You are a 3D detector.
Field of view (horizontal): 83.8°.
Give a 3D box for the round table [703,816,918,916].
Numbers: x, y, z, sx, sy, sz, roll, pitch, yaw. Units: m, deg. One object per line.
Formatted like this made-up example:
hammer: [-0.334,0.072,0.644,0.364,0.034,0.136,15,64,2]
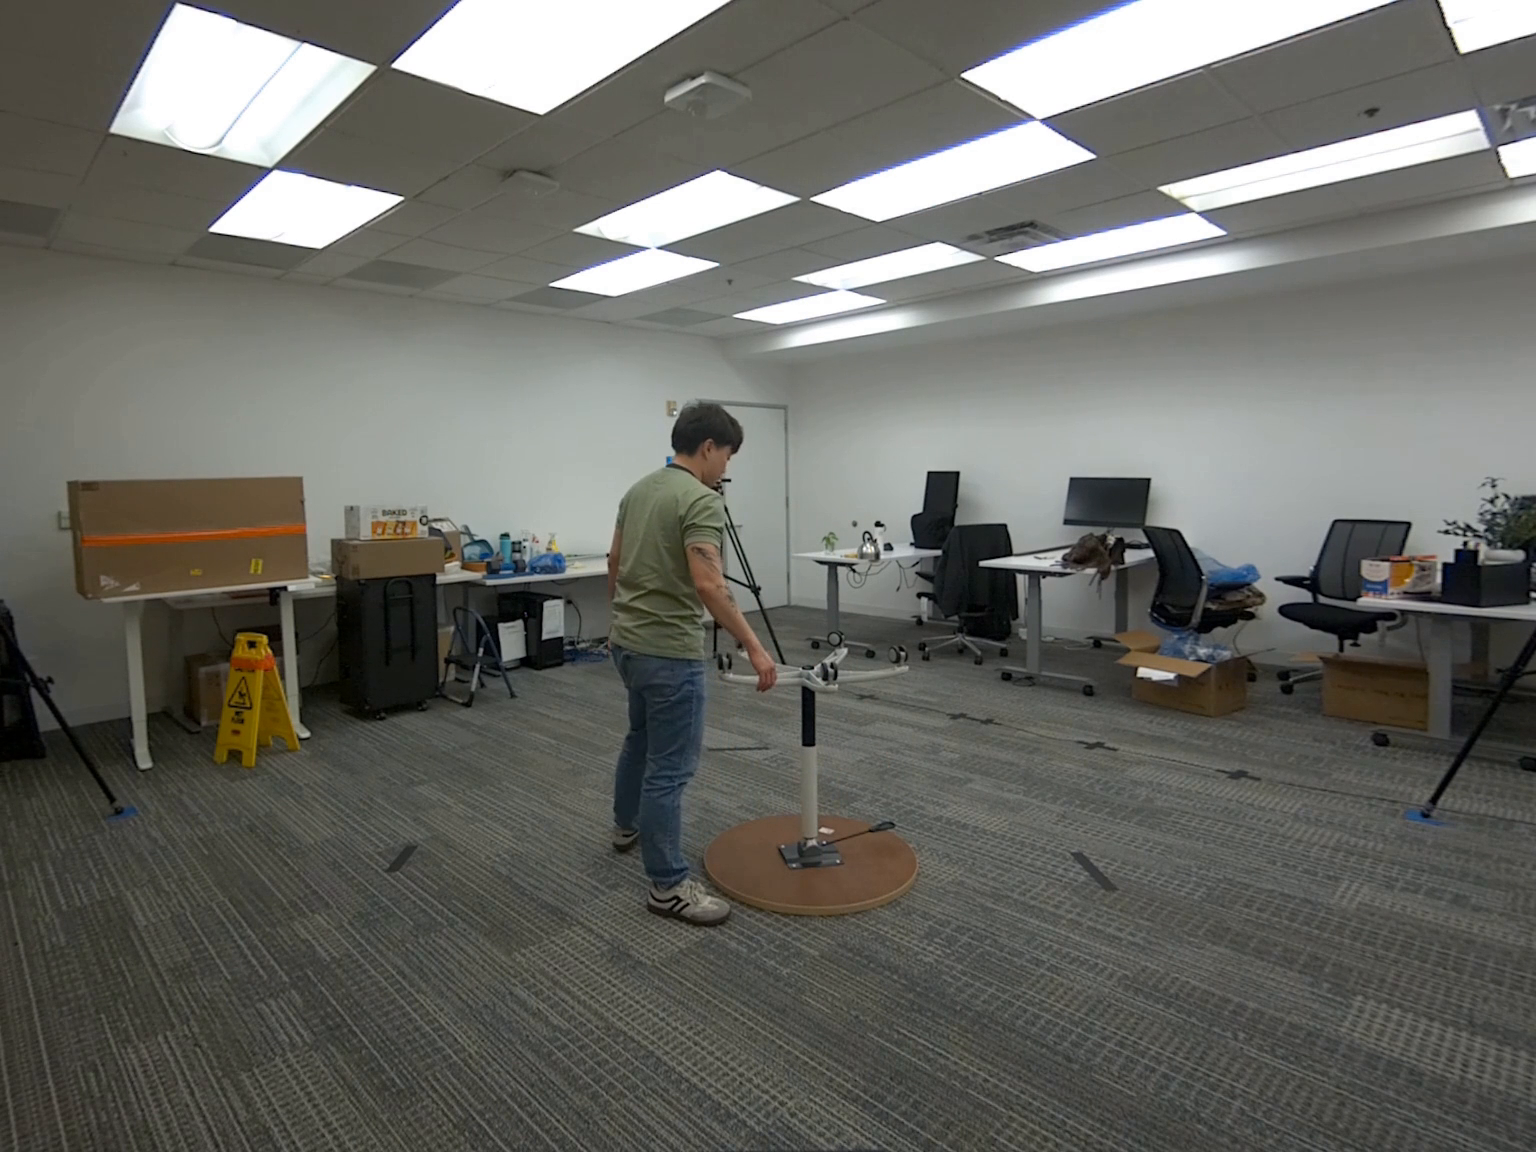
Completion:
round table: [0.153,0.651,3.080,0.763,0.791,0.768,-1,5,-2]
